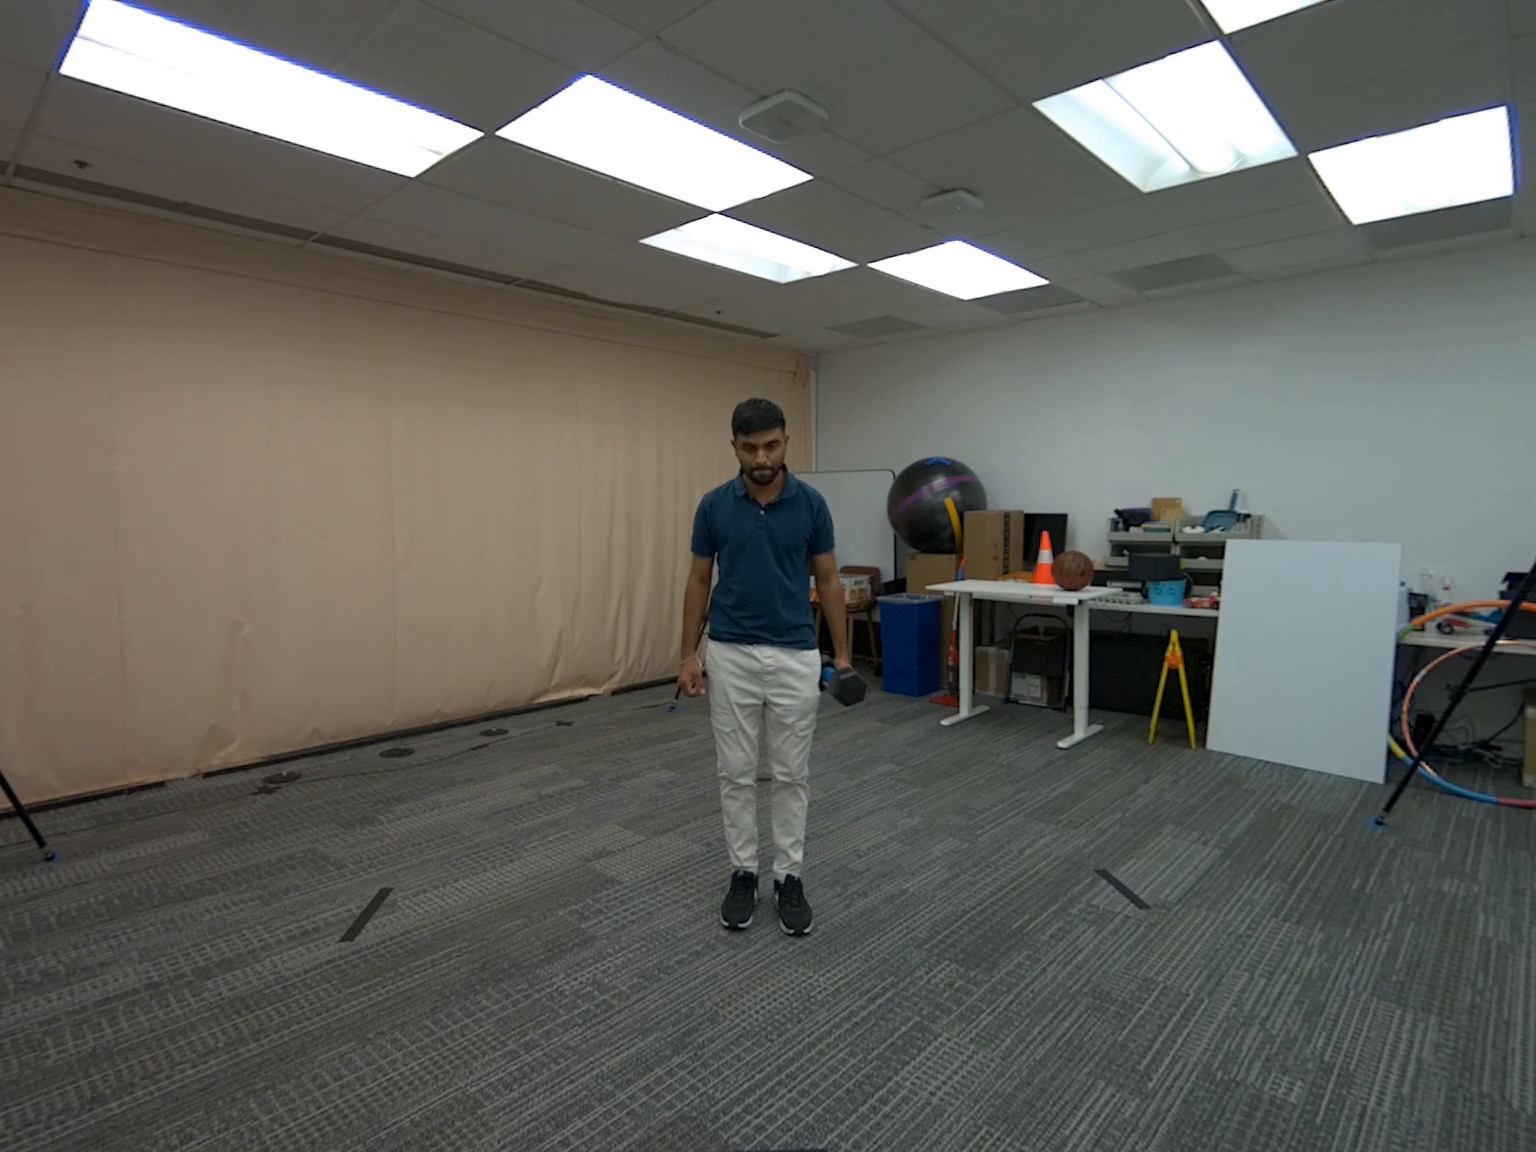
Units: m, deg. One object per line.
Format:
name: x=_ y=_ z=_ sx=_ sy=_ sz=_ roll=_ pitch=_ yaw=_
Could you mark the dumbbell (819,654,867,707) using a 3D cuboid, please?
dumbbell: x=0.224 y=0.348 z=2.813 sx=0.107 sy=0.123 sz=0.299 roll=13 pitch=3 yaw=-17
